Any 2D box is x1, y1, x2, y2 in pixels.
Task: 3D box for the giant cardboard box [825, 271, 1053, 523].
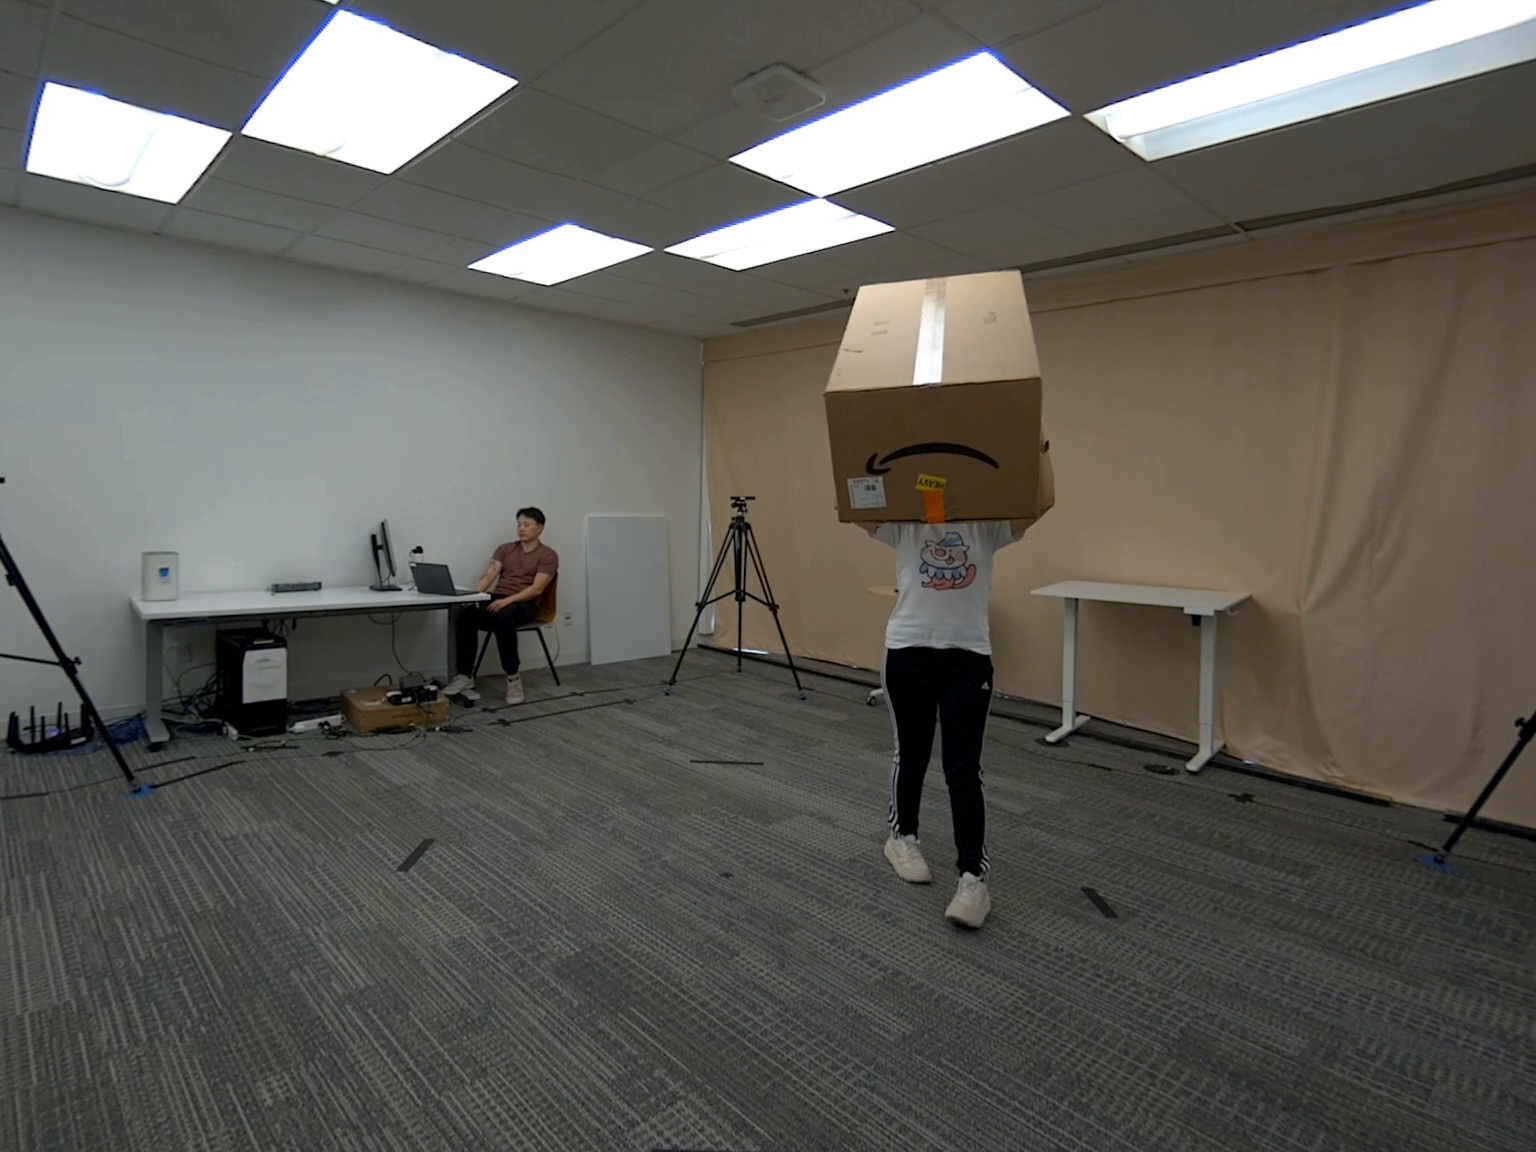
[{"bbox_3d":[0.549,-0.620,2.768,0.591,0.436,1.039,-1,34,14],"label":"giant cardboard box"}]
